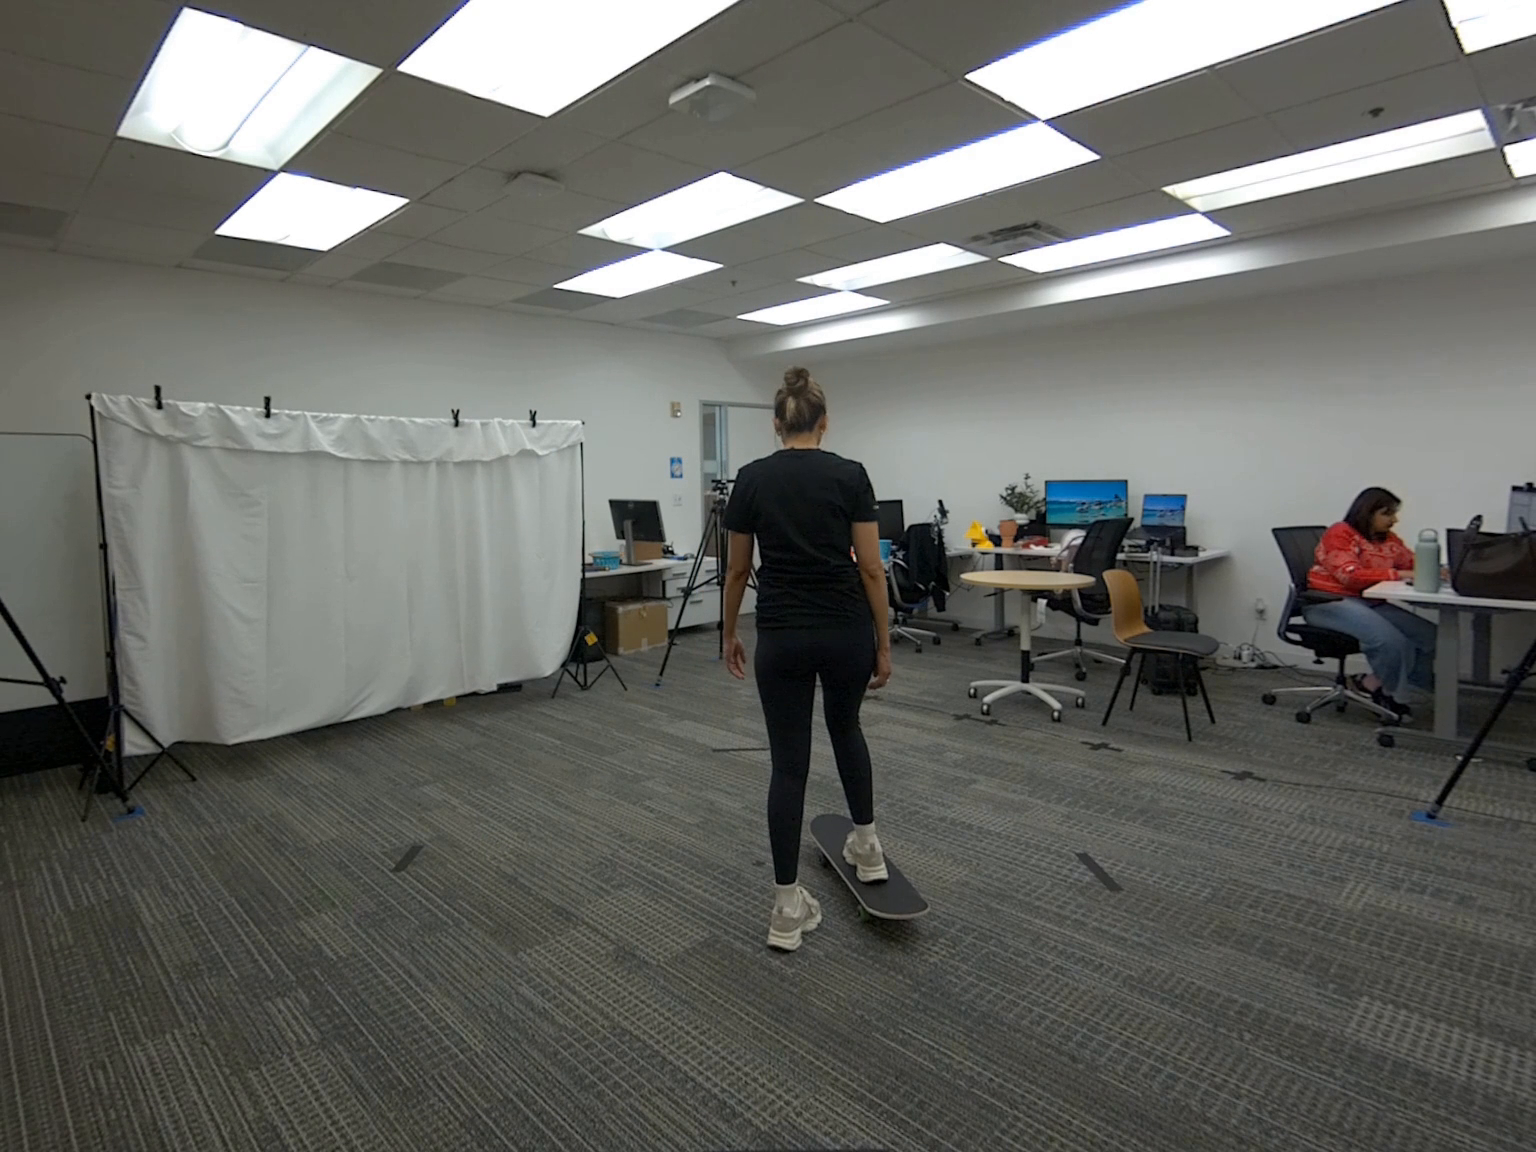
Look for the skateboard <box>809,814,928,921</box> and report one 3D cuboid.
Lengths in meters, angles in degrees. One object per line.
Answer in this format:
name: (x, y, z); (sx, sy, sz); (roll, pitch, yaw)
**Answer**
skateboard: (0.325, 1.007, 2.906); (0.191, 0.110, 0.799); (-2, 7, -14)
